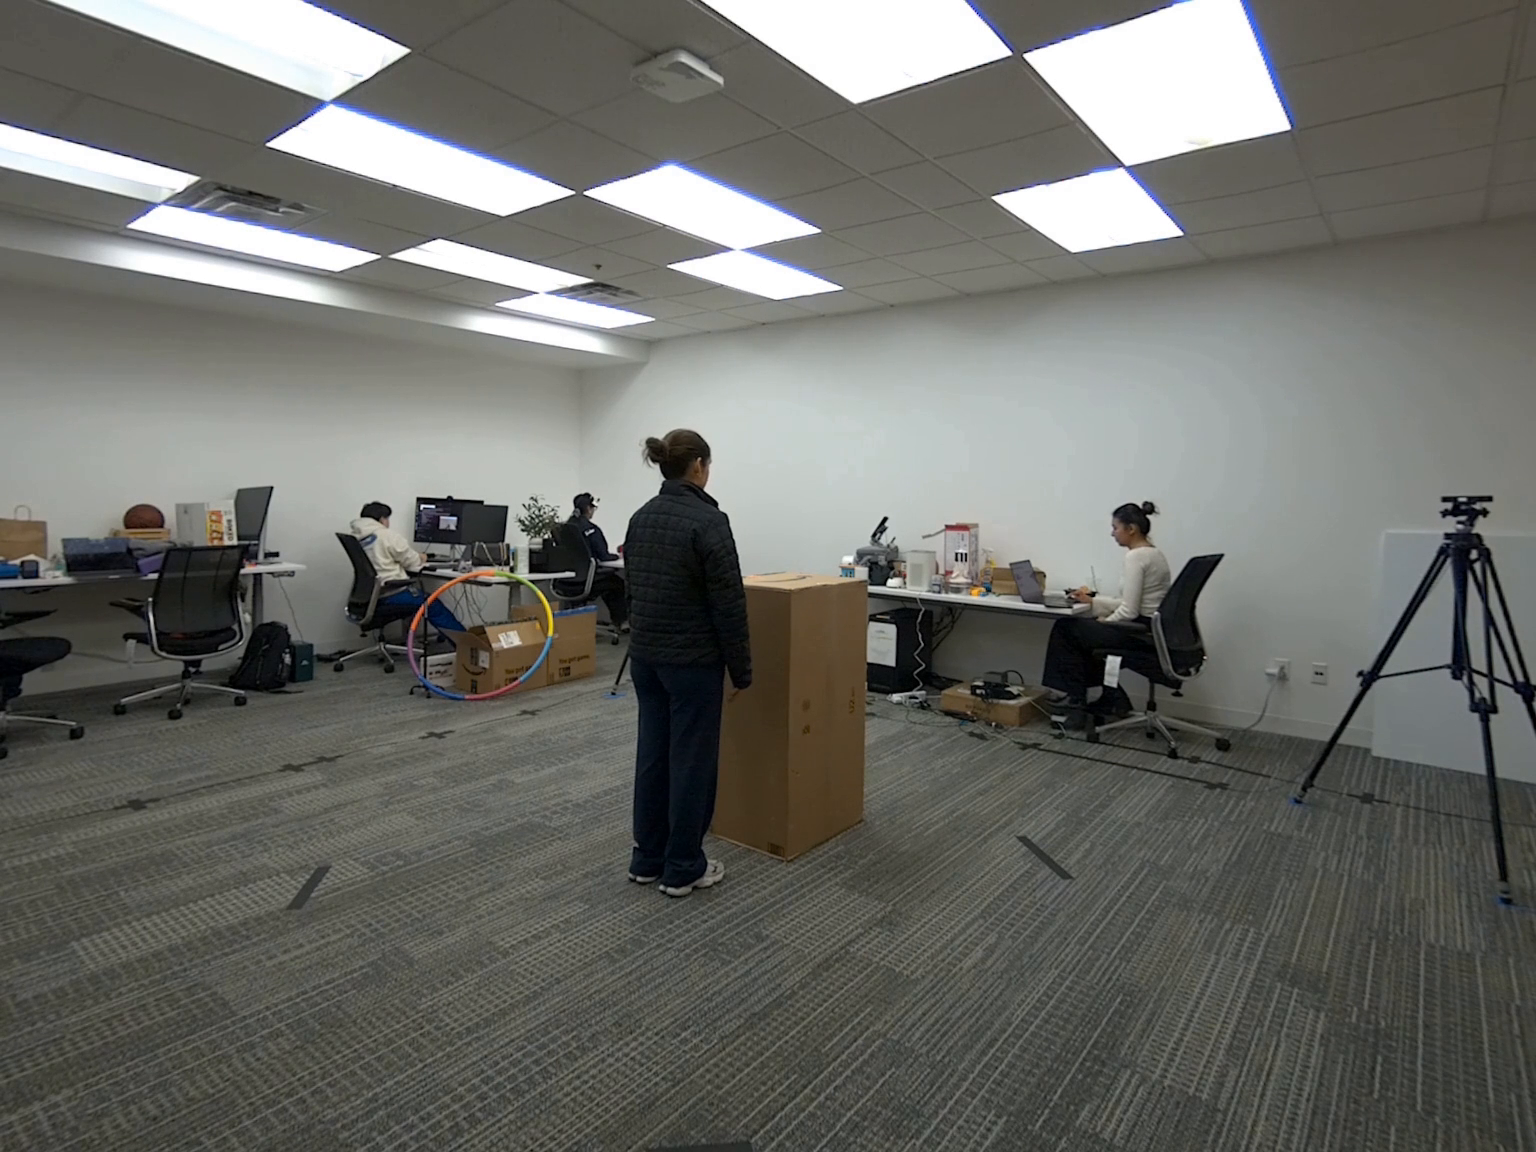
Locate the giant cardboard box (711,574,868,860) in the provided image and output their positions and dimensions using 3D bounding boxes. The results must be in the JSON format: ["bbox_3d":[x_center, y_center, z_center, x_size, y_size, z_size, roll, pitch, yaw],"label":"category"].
[{"bbox_3d":[0.098,0.524,3.509,0.440,1.023,0.560,3,4,39],"label":"giant cardboard box"}]
